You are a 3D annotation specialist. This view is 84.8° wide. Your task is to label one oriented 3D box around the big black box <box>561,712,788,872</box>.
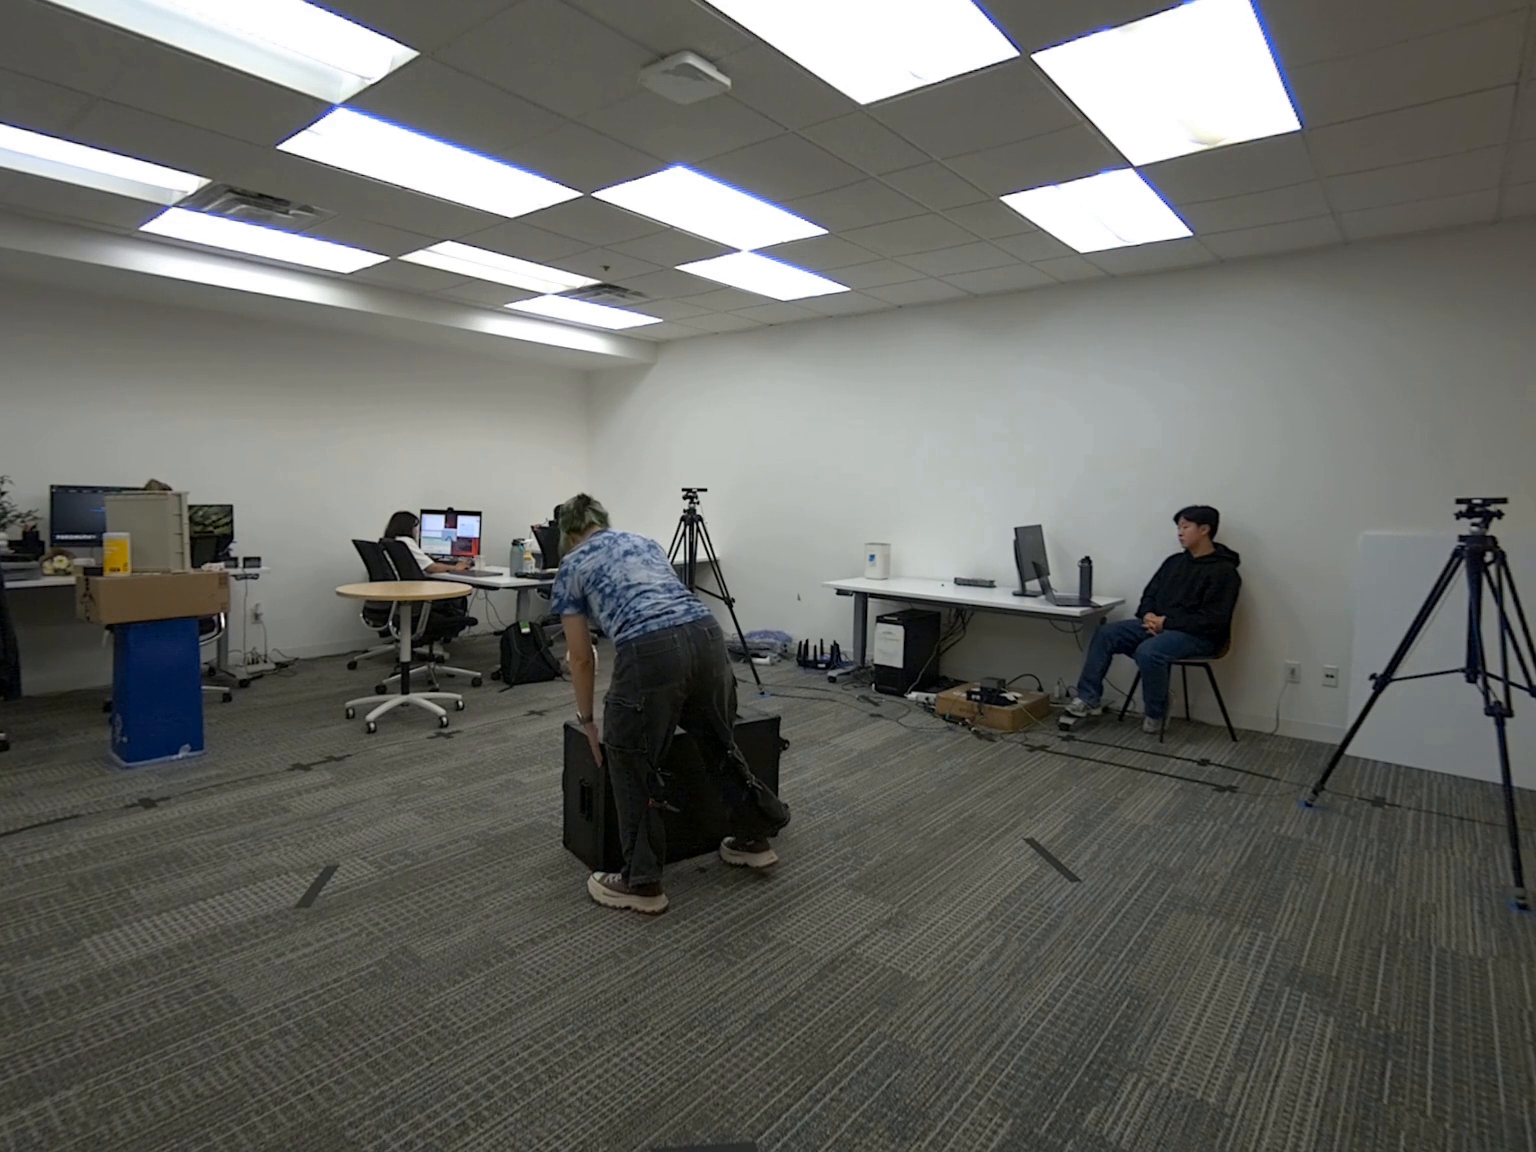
[{"bbox_3d":[-0.365,0.796,3.377,0.837,0.519,0.409,-2,5,-34],"label":"big black box"}]
